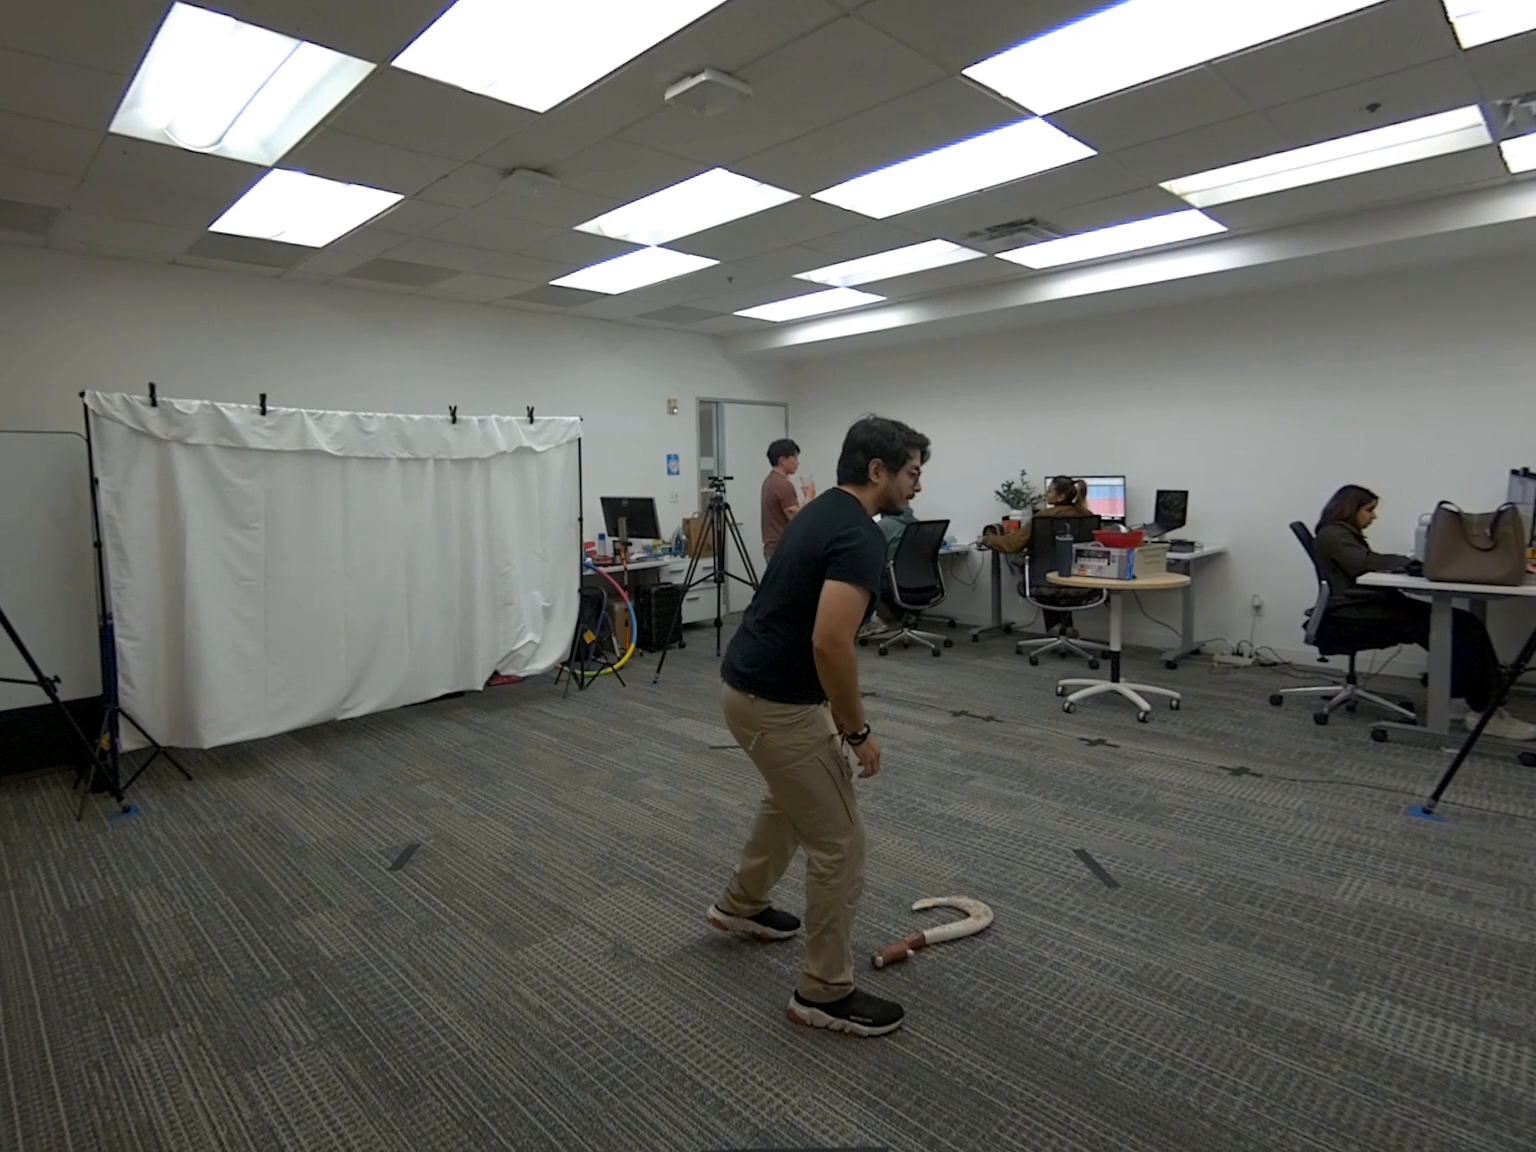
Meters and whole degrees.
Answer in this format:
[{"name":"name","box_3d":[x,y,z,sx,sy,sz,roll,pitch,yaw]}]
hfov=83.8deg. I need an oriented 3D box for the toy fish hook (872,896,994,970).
[{"name":"toy fish hook","box_3d":[0.478,1.073,2.594,0.494,0.048,0.230,-5,1,-36]}]
